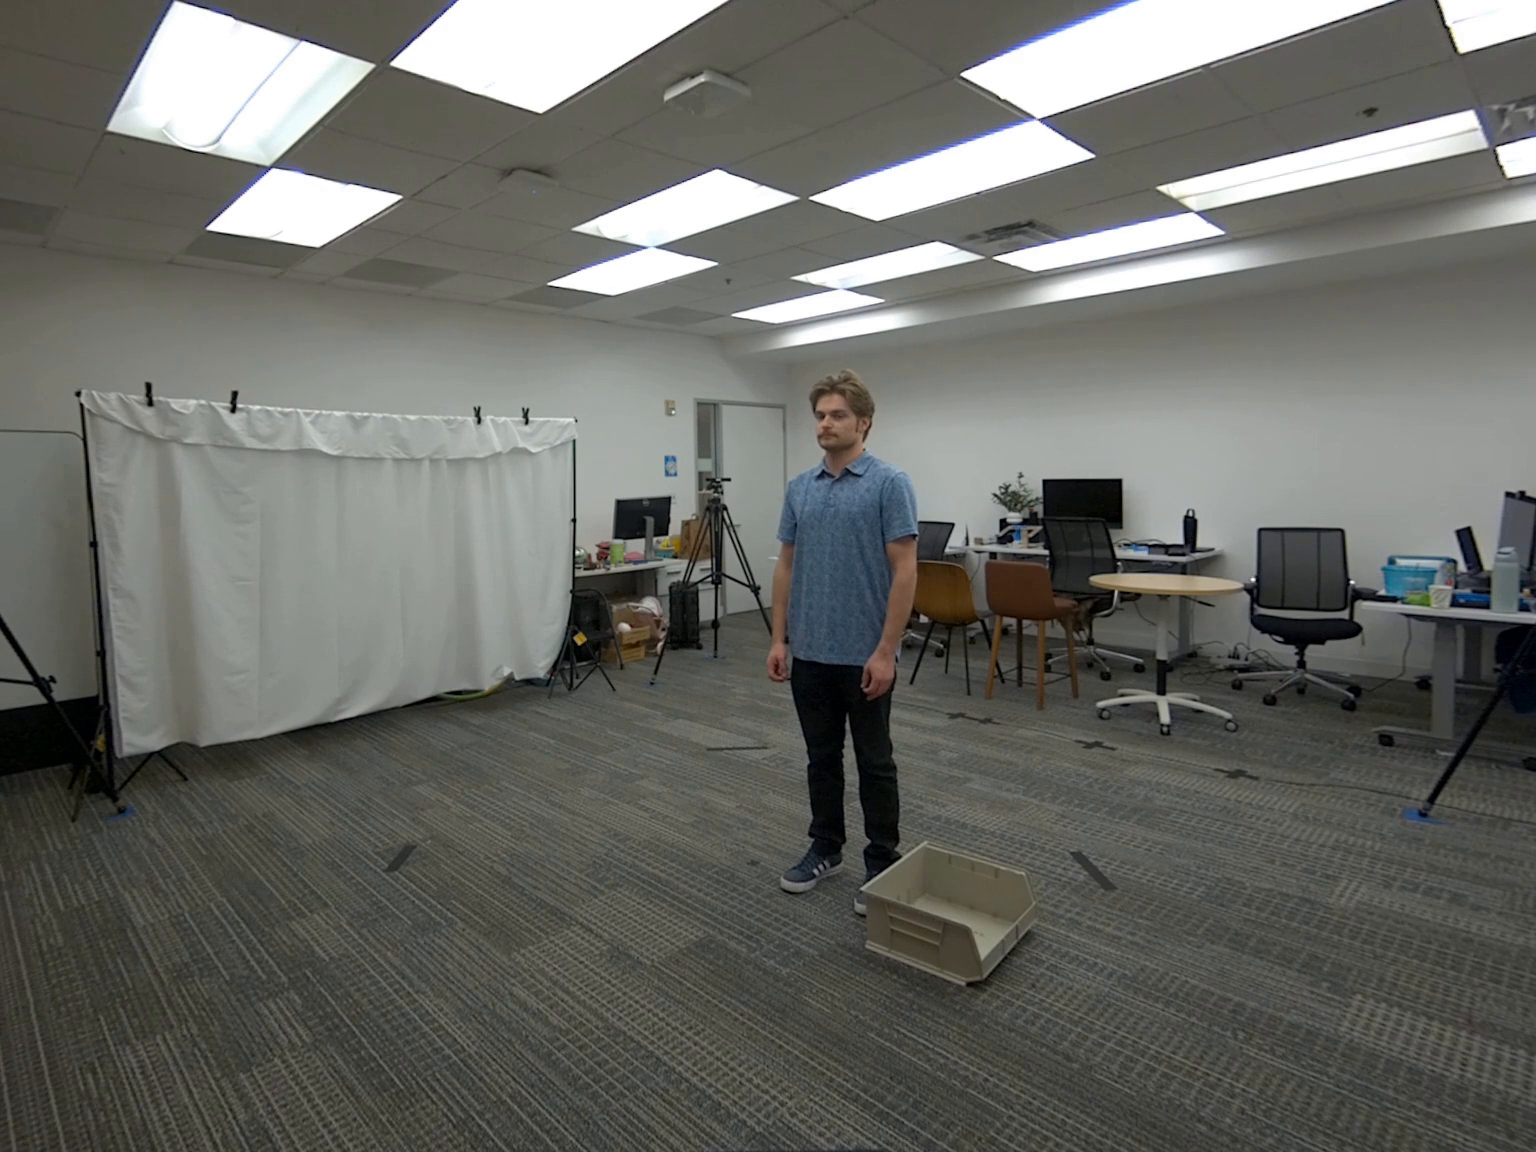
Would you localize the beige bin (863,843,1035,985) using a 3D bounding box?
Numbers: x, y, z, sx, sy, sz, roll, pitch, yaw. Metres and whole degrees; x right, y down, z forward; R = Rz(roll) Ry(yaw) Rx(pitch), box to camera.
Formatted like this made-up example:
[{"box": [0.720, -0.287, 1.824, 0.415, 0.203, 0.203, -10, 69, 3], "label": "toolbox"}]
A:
[{"box": [0.553, 1.003, 2.564, 0.388, 0.188, 0.412, 2, 6, 39], "label": "beige bin"}]
